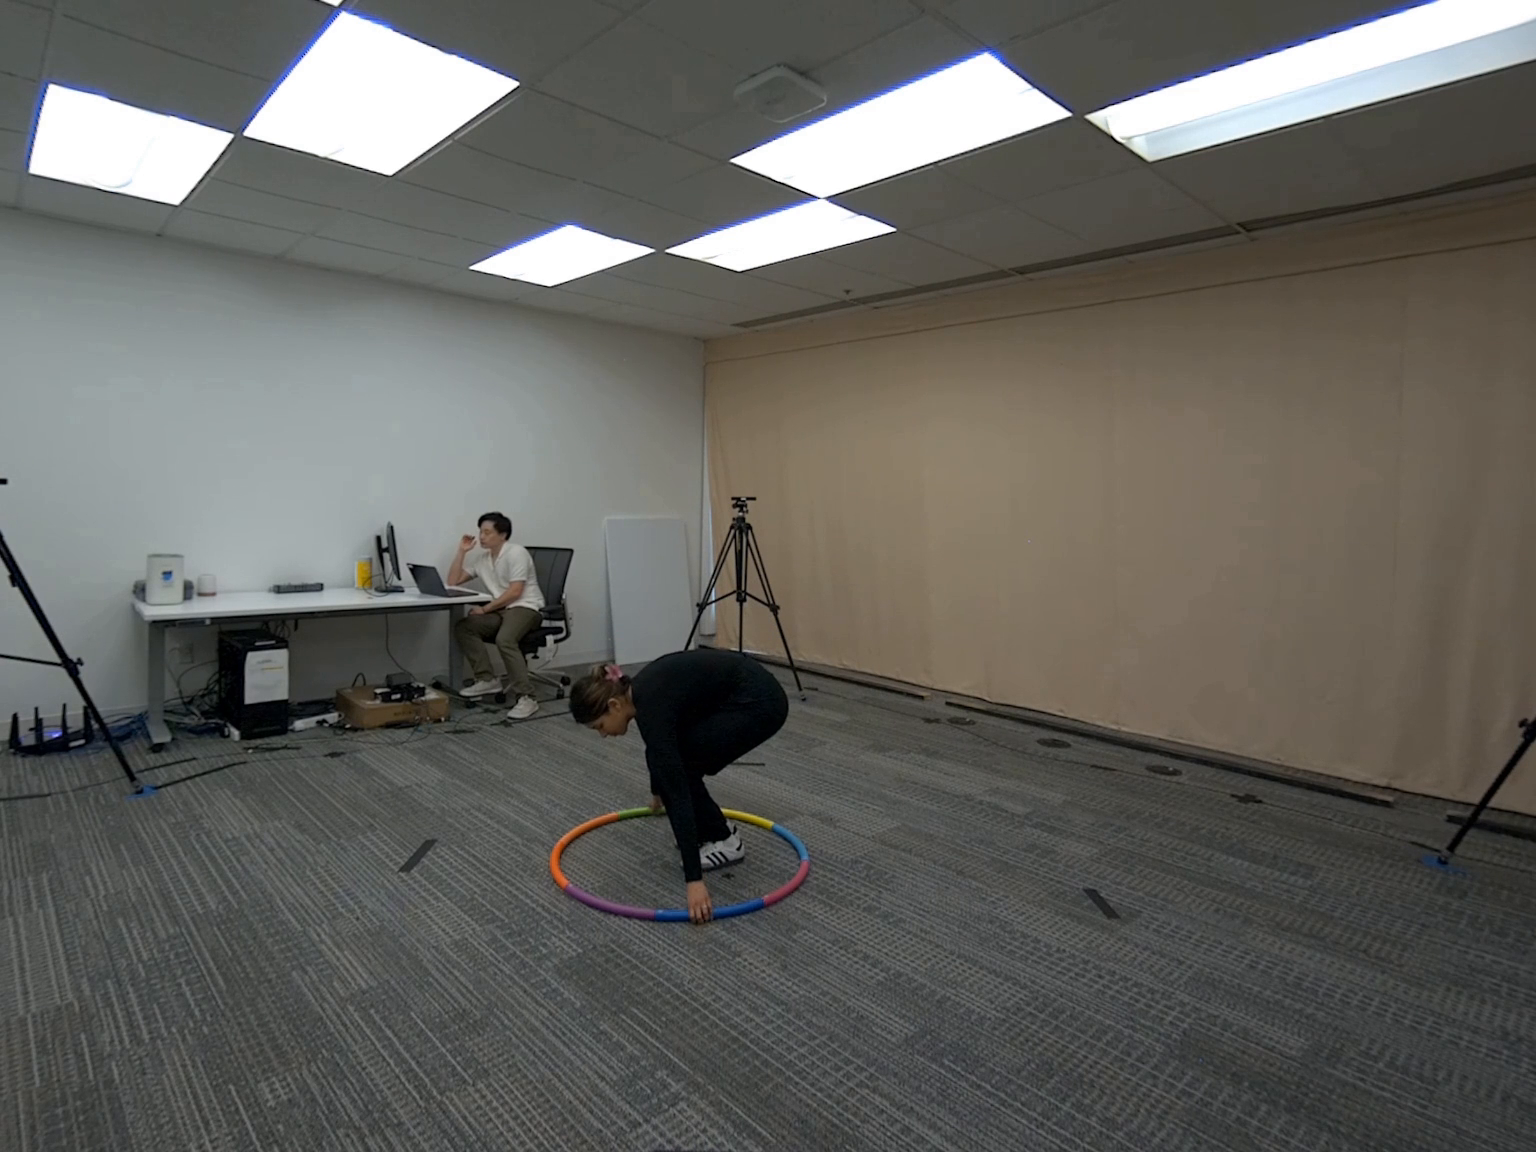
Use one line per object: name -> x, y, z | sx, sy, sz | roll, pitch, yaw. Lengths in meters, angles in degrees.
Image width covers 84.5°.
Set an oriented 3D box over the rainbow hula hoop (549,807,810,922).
rainbow hula hoop -> -0.341, 1.061, 3.238 | 0.978, 0.035, 0.982 | 1, 5, -1
